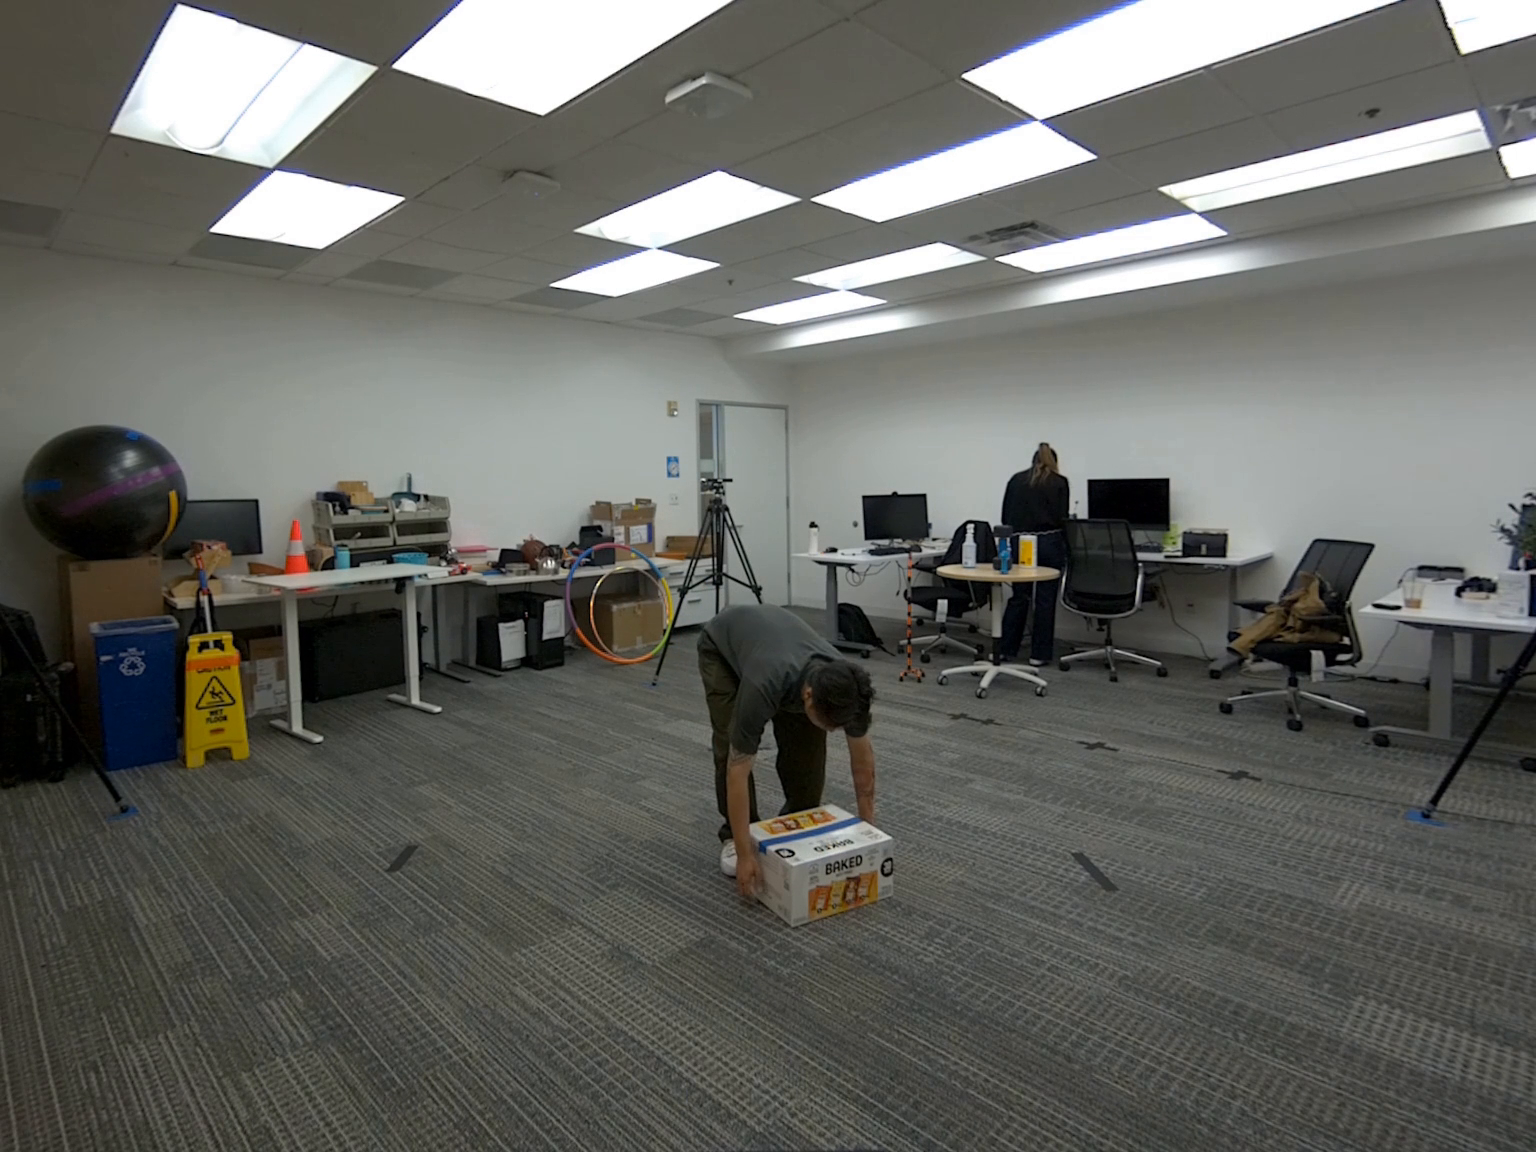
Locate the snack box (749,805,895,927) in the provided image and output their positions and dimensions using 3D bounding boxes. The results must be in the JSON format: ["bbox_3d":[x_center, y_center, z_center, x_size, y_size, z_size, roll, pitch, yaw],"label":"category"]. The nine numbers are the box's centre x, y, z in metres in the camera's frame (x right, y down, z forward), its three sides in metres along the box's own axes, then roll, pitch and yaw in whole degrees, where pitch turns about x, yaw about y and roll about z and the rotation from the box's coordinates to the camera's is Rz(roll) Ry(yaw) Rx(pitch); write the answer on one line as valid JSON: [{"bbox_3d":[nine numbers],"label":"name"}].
[{"bbox_3d":[0.154,0.962,2.885,0.396,0.205,0.350,-4,7,-30],"label":"snack box"}]
